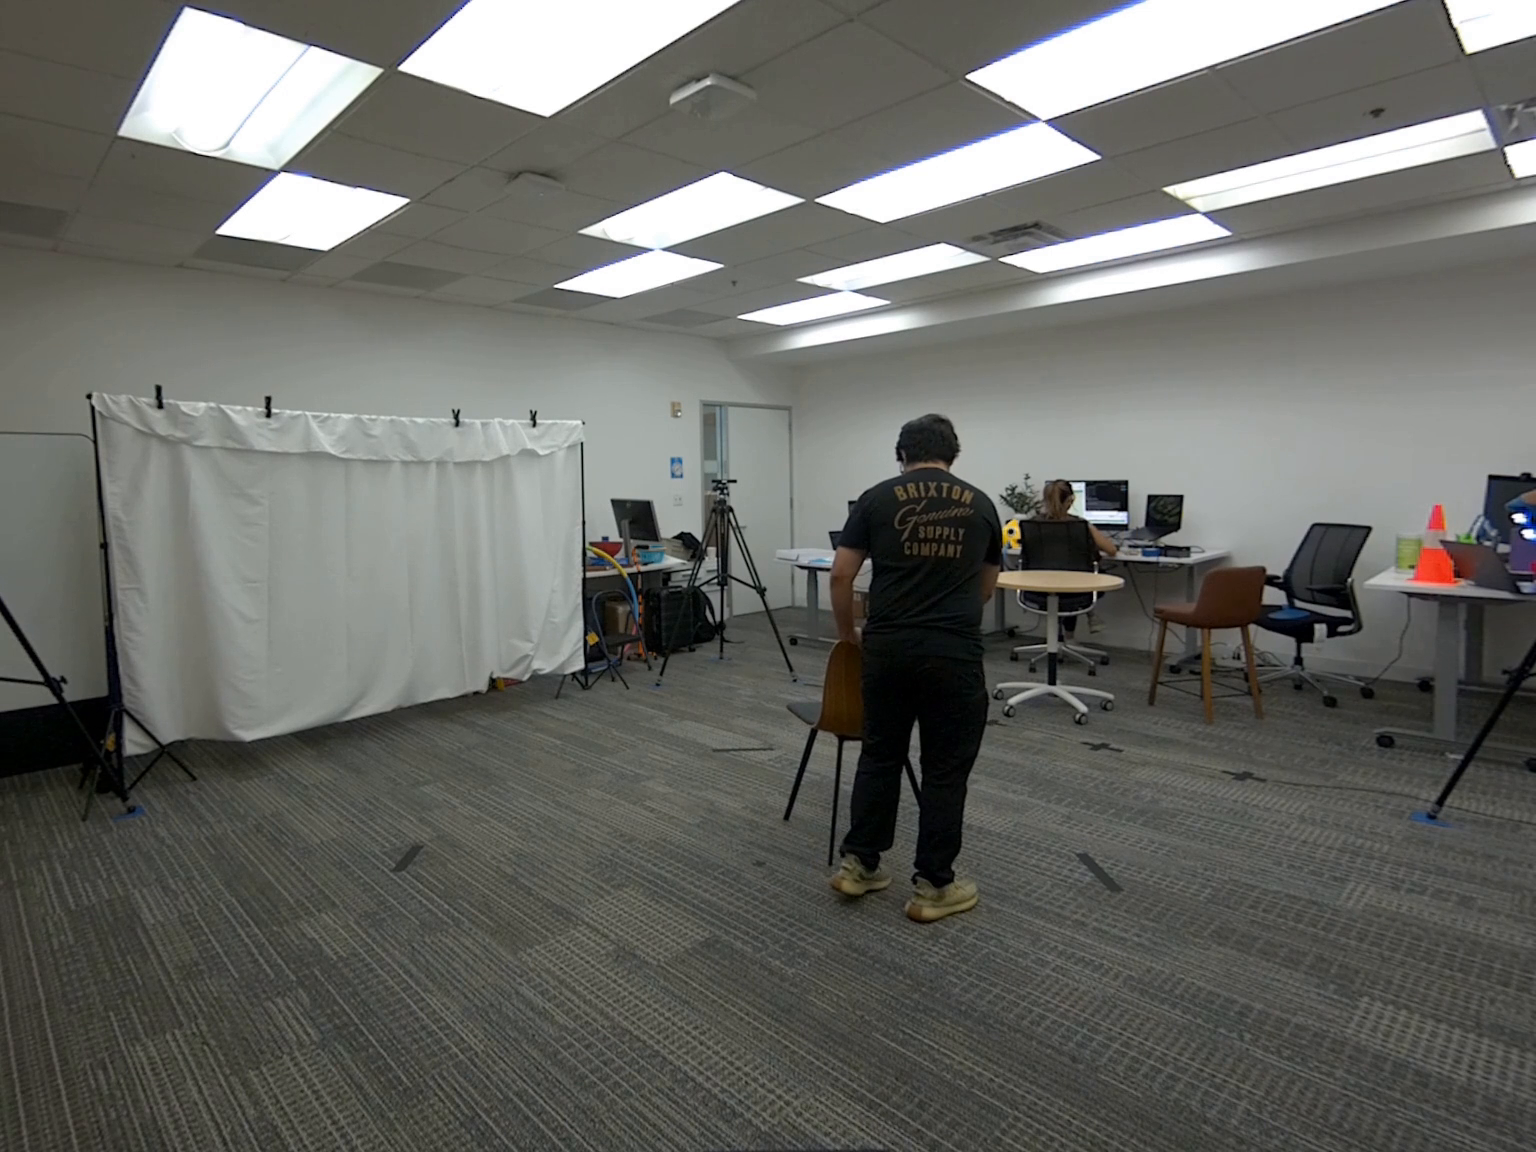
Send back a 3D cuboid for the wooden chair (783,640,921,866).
[{"bbox_3d":[0.341,0.589,3.333,0.470,0.871,0.535,-3,9,-19],"label":"wooden chair"}]
